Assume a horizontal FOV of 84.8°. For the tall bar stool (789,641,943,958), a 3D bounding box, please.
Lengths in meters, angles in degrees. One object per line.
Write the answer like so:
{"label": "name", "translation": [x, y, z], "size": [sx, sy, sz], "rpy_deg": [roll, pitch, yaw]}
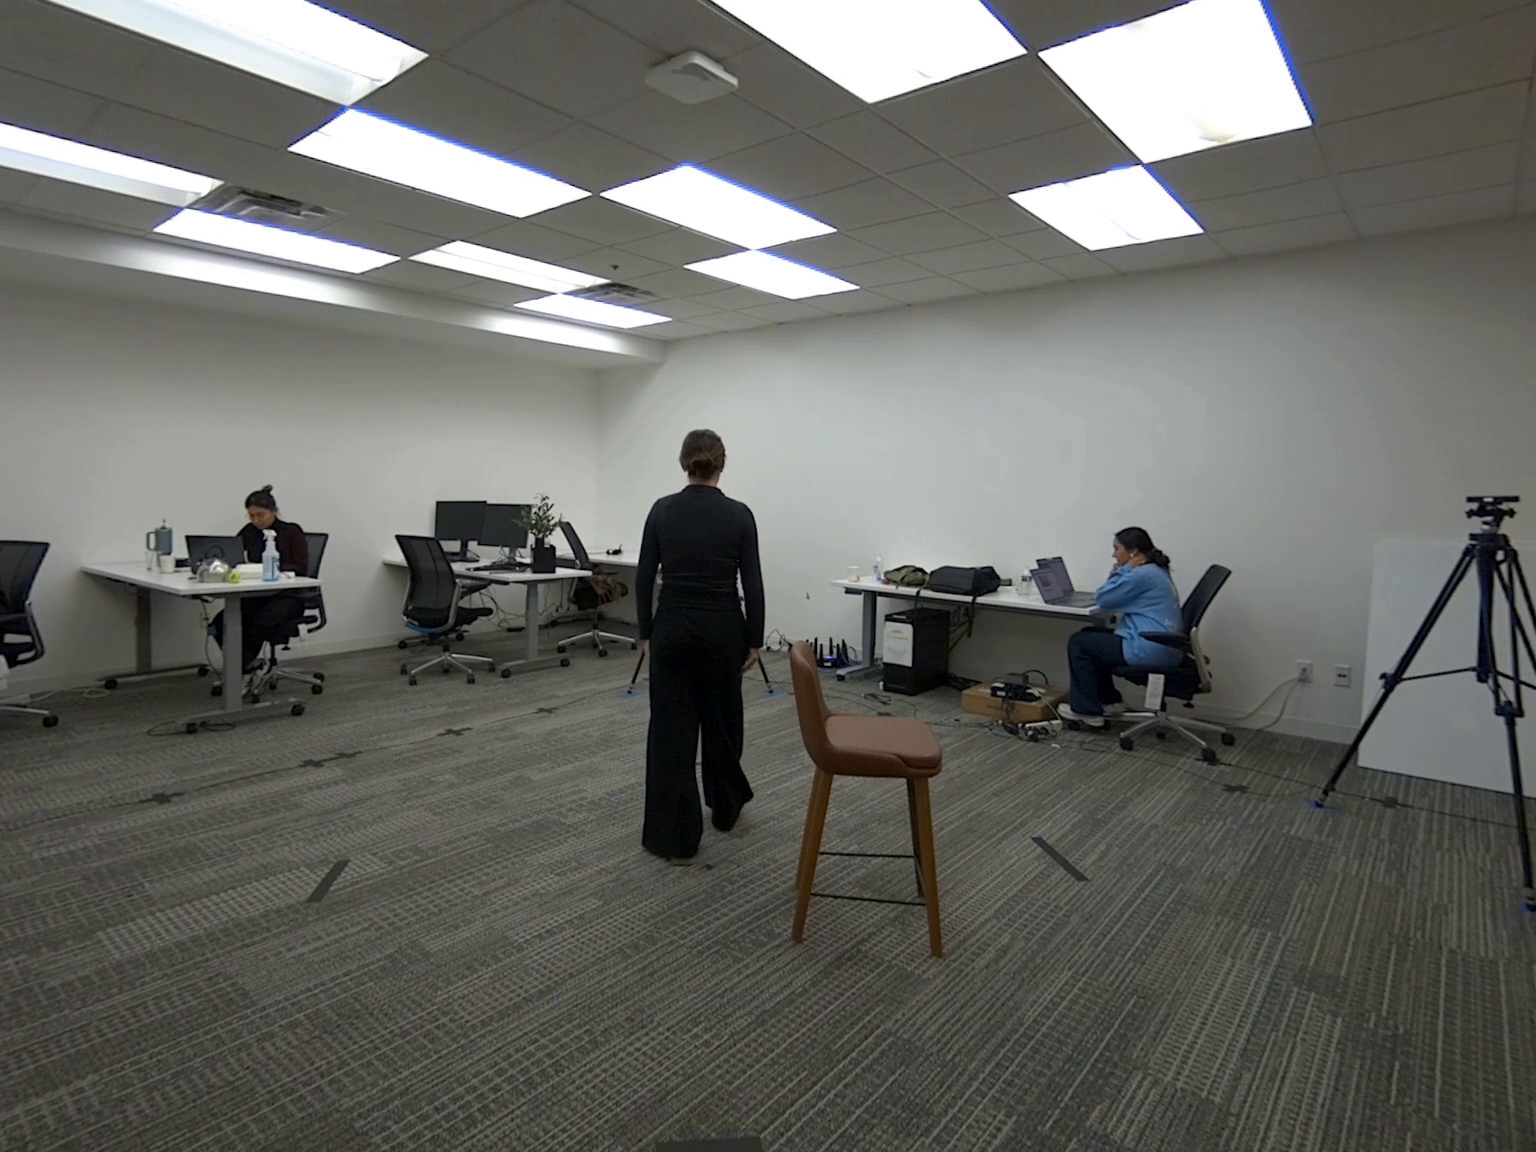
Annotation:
{"label": "tall bar stool", "translation": [0.311, 0.678, 2.747], "size": [0.471, 0.887, 0.454], "rpy_deg": [0, 3, 6]}
